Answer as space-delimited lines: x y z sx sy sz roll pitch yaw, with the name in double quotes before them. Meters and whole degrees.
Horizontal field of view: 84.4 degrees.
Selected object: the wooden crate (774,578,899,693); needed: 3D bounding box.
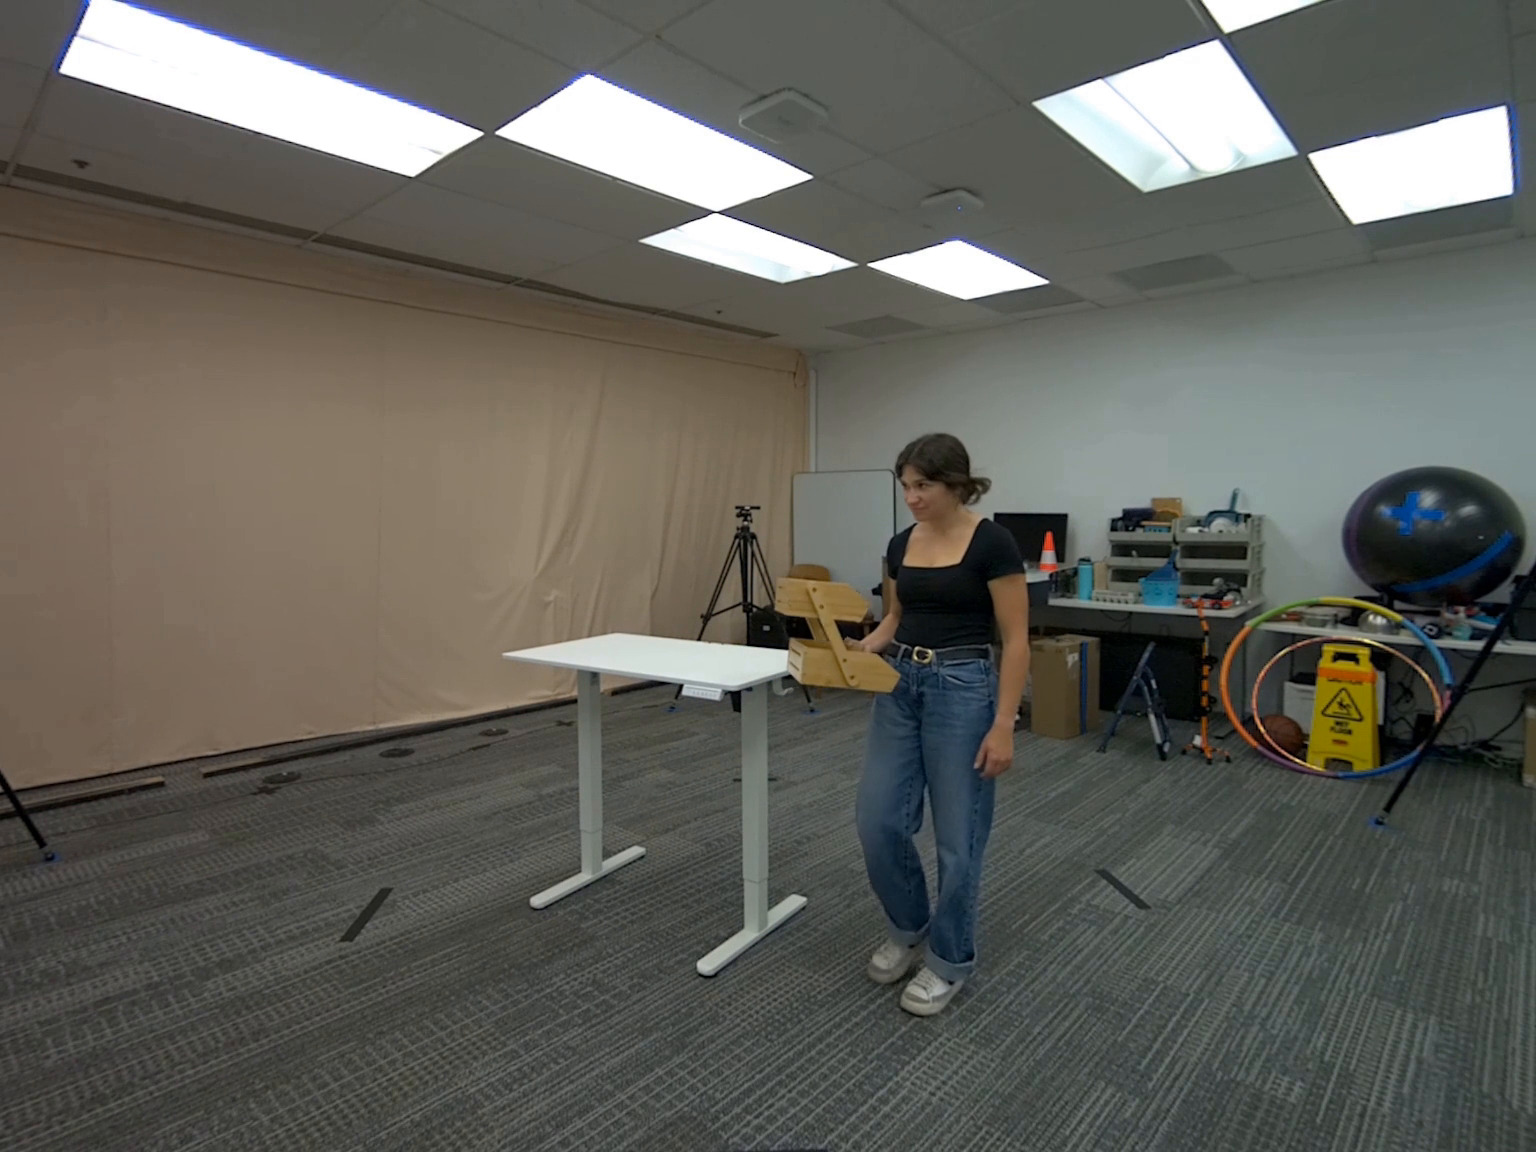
"wooden crate" 0.200 0.149 2.247 0.303 0.273 0.323 5 -1 1
